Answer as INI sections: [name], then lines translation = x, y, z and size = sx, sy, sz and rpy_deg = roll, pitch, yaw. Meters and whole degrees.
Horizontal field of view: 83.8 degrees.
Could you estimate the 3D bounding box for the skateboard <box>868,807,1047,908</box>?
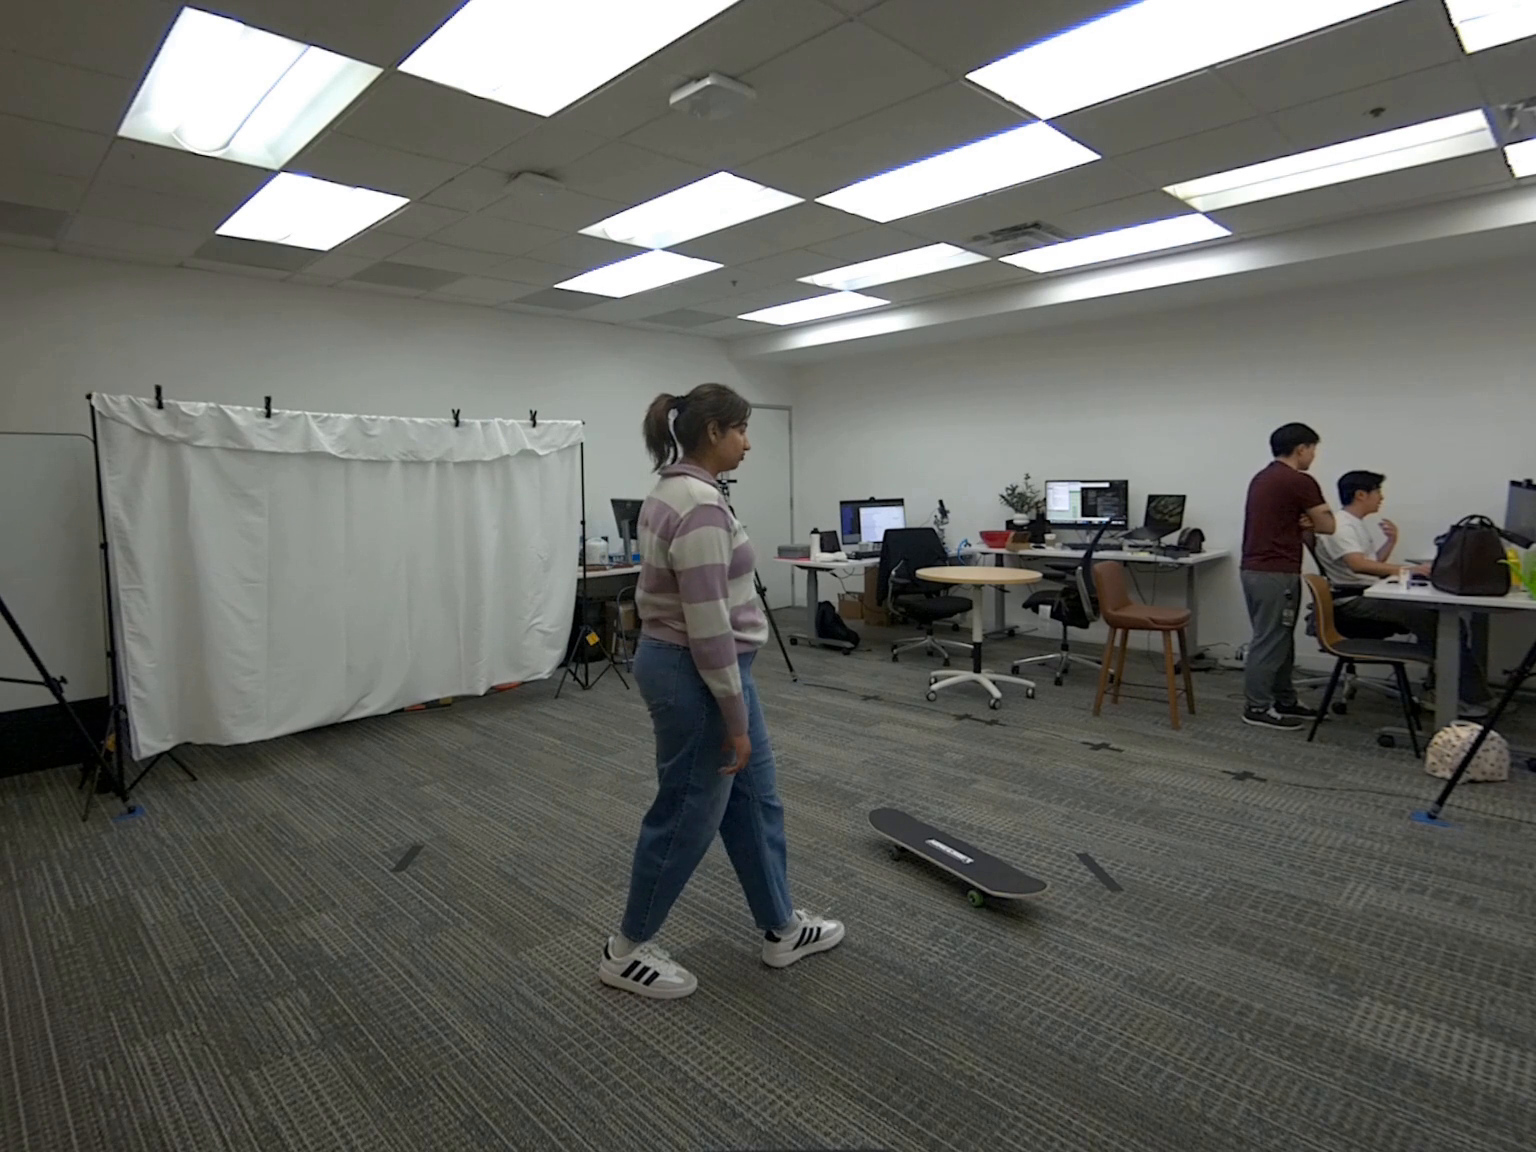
[skateboard]
translation = 0.637, 0.993, 2.981
size = 0.189, 0.110, 0.807
rpy_deg = -4, 7, -30
